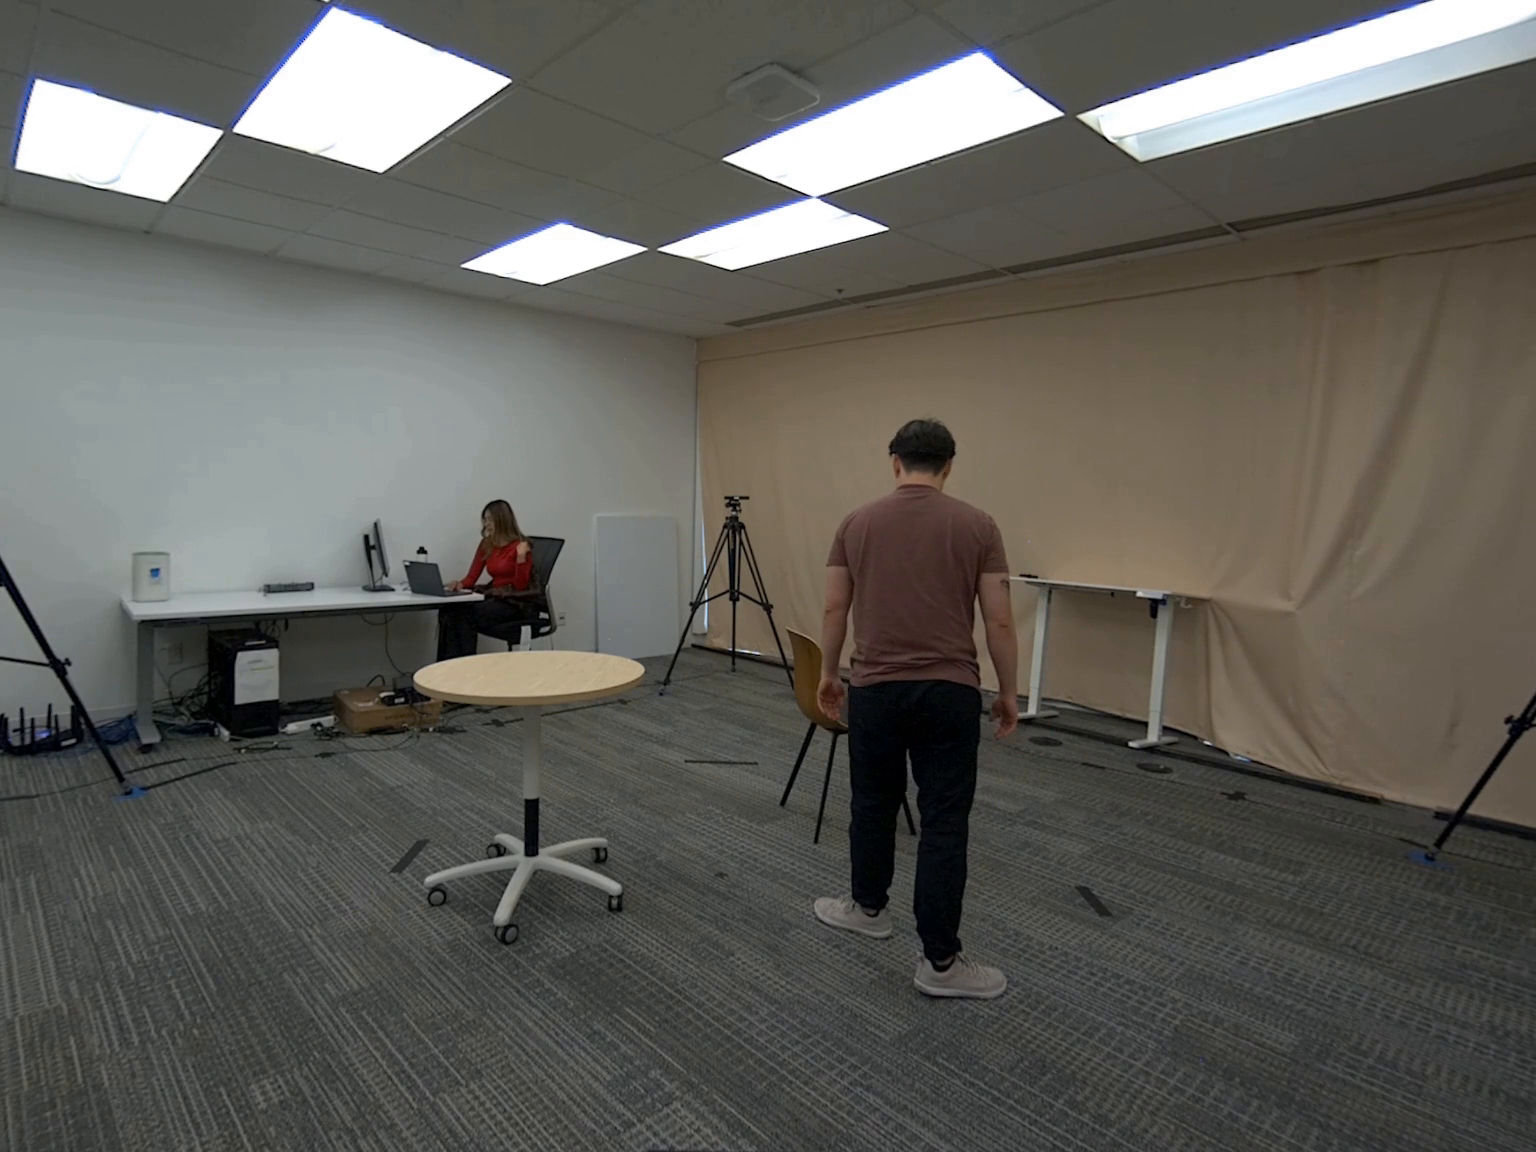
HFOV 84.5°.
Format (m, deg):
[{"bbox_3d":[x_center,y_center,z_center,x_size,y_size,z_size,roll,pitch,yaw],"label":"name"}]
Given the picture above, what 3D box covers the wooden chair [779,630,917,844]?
[{"bbox_3d":[0.347,0.641,3.655,0.517,0.874,0.485,-3,4,-17],"label":"wooden chair"}]
